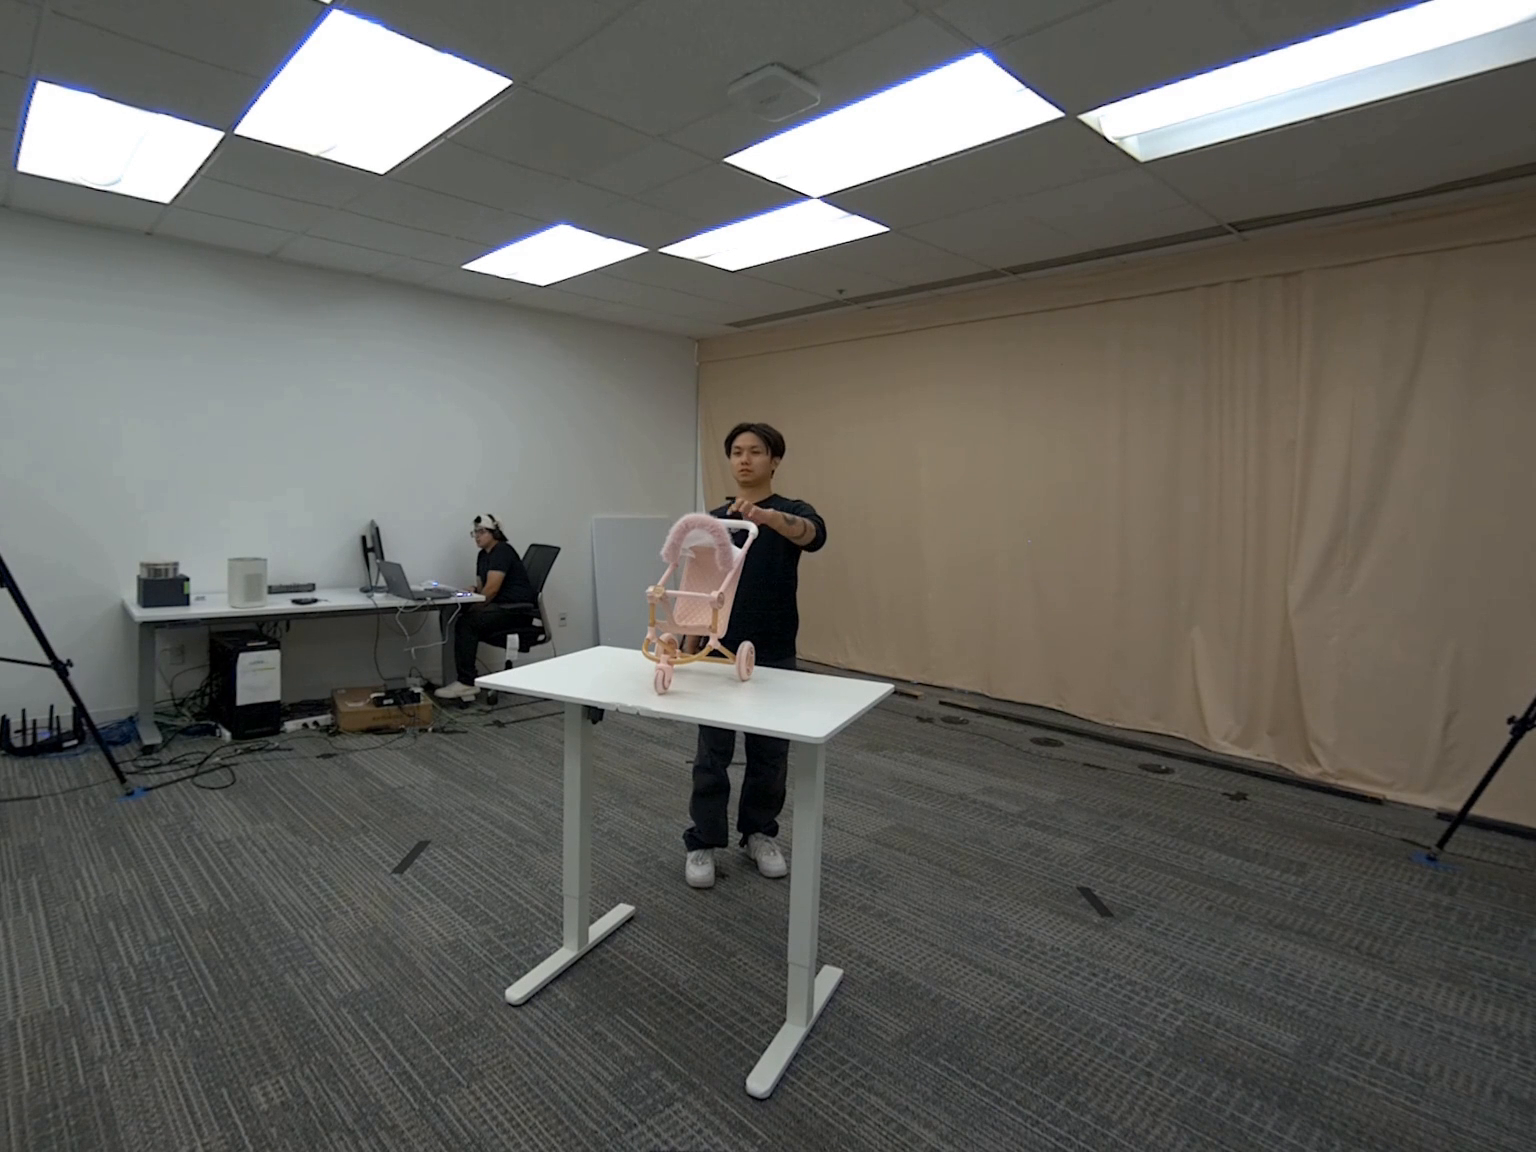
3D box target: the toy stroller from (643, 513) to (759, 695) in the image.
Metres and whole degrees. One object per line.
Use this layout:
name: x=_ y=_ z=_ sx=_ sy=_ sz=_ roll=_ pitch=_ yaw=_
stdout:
toy stroller: x=-0.210 y=0.070 z=2.332 sx=0.287 sy=0.538 sz=0.332 roll=3 pitch=-9 yaw=26
